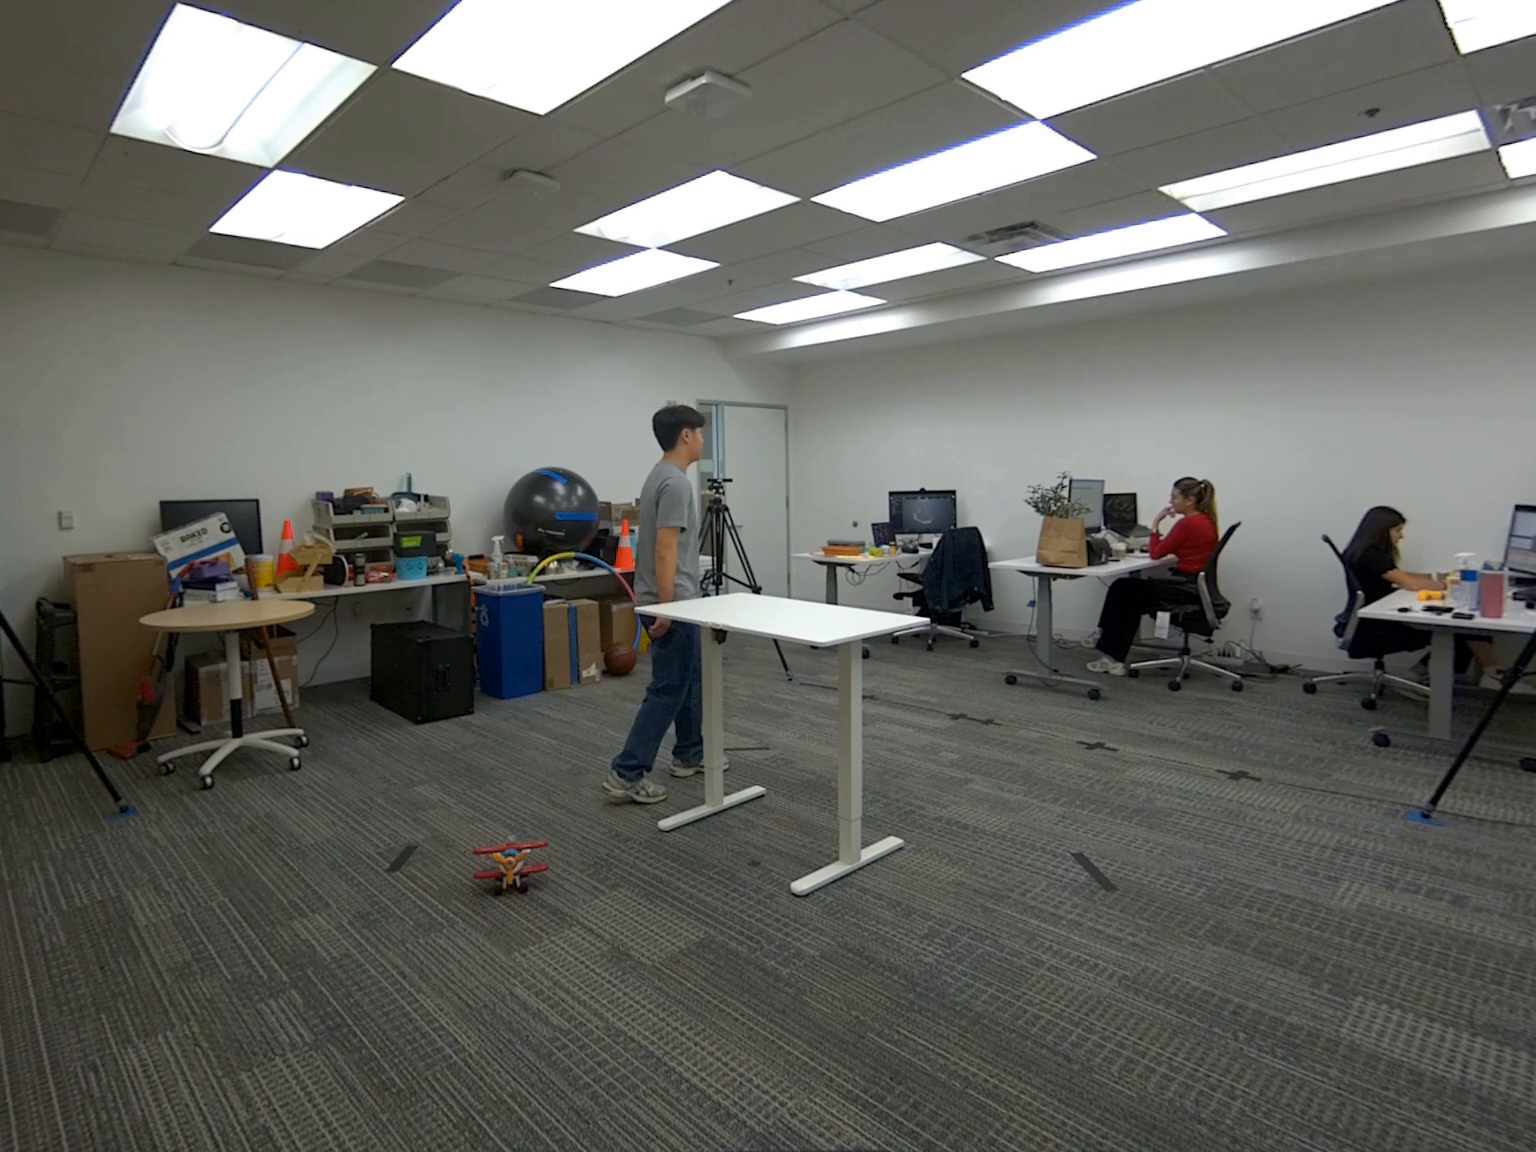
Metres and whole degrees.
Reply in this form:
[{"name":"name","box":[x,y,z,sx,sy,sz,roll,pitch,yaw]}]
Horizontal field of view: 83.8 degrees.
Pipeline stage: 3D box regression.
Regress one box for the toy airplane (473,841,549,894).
[{"name":"toy airplane","box":[-0.916,1.002,2.996,0.244,0.156,0.267,-6,8,-41]}]
